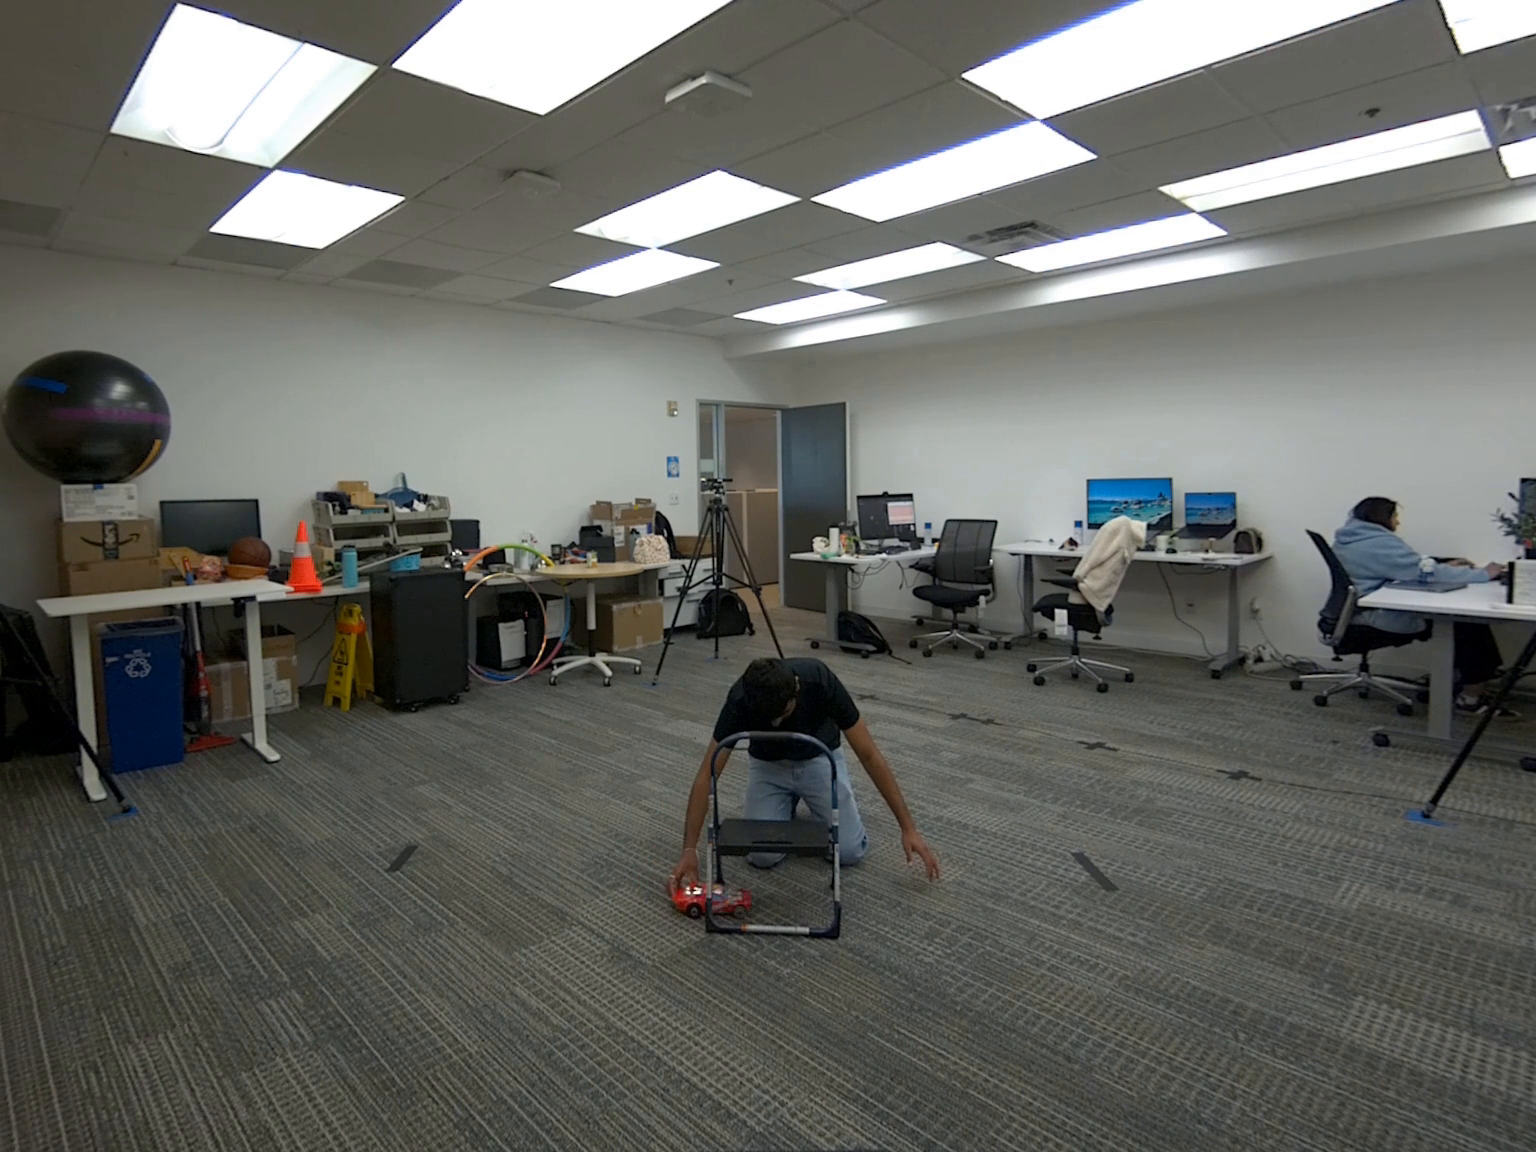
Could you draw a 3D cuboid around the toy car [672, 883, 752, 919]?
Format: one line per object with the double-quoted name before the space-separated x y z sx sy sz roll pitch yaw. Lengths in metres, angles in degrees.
"toy car" -0.180 1.055 2.773 0.254 0.083 0.131 8 4 -2
